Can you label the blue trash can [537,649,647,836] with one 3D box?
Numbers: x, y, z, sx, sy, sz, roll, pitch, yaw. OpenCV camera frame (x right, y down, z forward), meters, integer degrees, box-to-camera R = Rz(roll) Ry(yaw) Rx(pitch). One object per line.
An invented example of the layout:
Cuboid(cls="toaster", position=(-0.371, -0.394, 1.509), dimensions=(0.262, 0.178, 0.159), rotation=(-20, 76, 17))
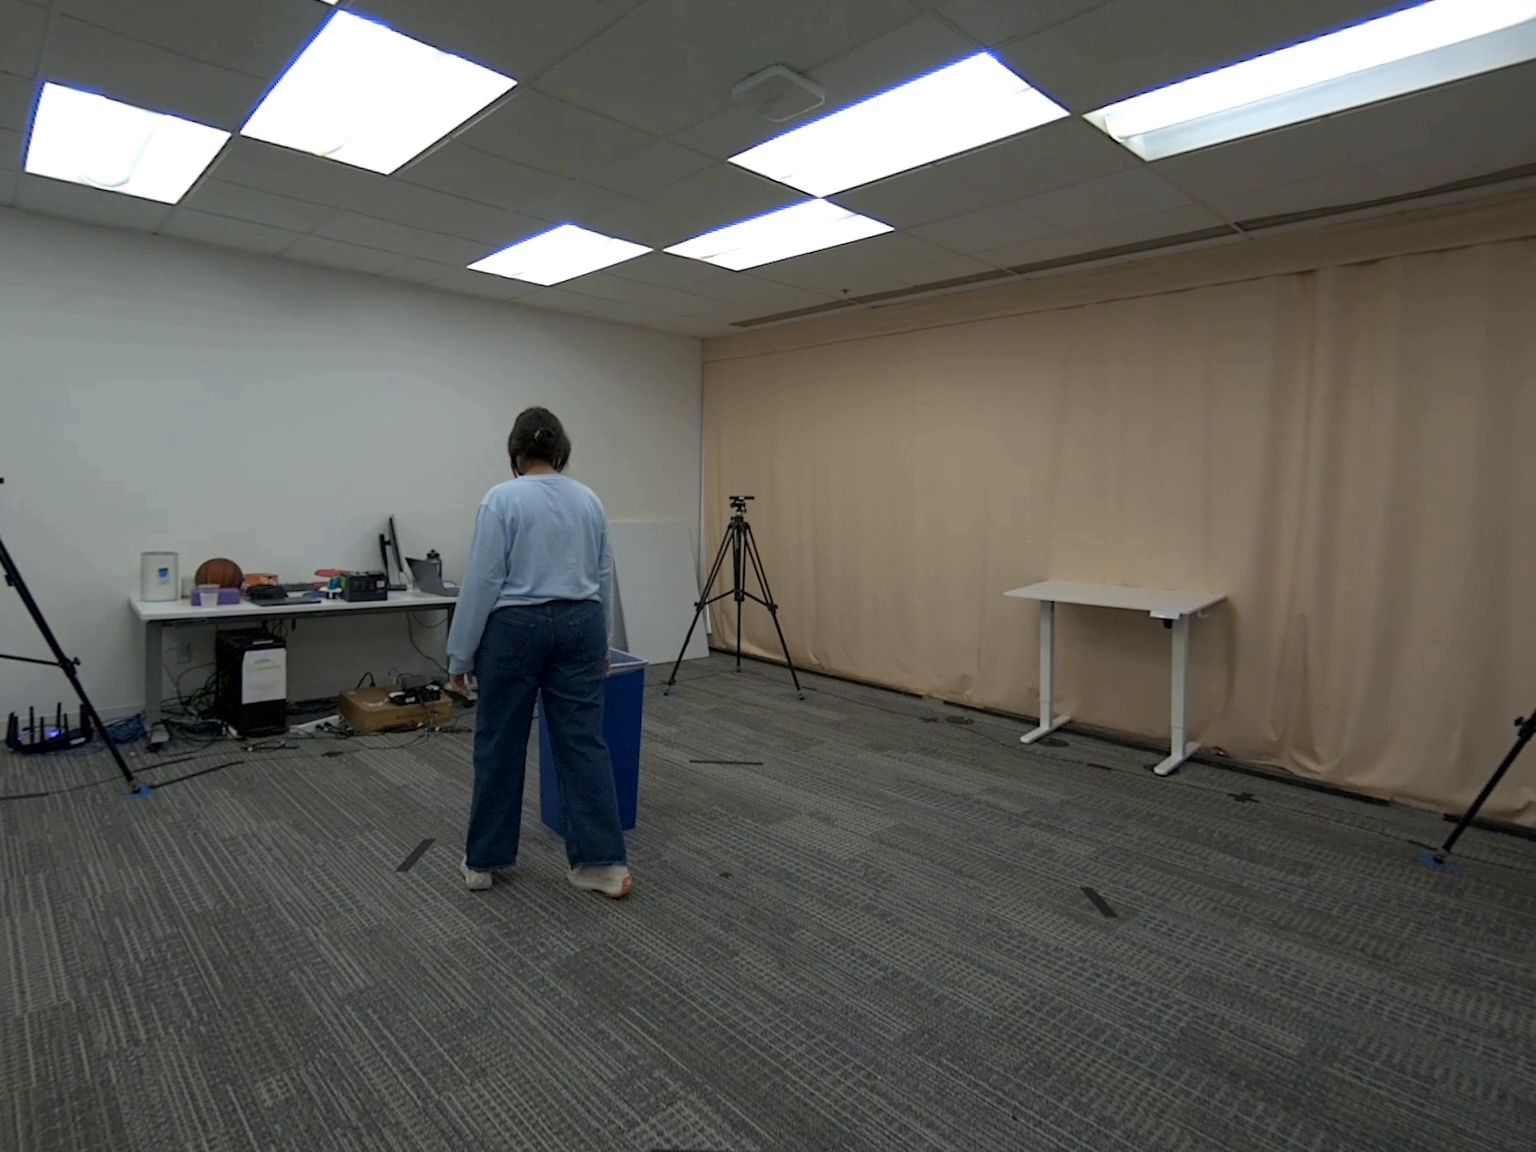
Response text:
Cuboid(cls="blue trash can", position=(-0.758, 0.697, 3.535), dimensions=(0.365, 0.711, 0.388), rotation=(-2, 5, -41))
